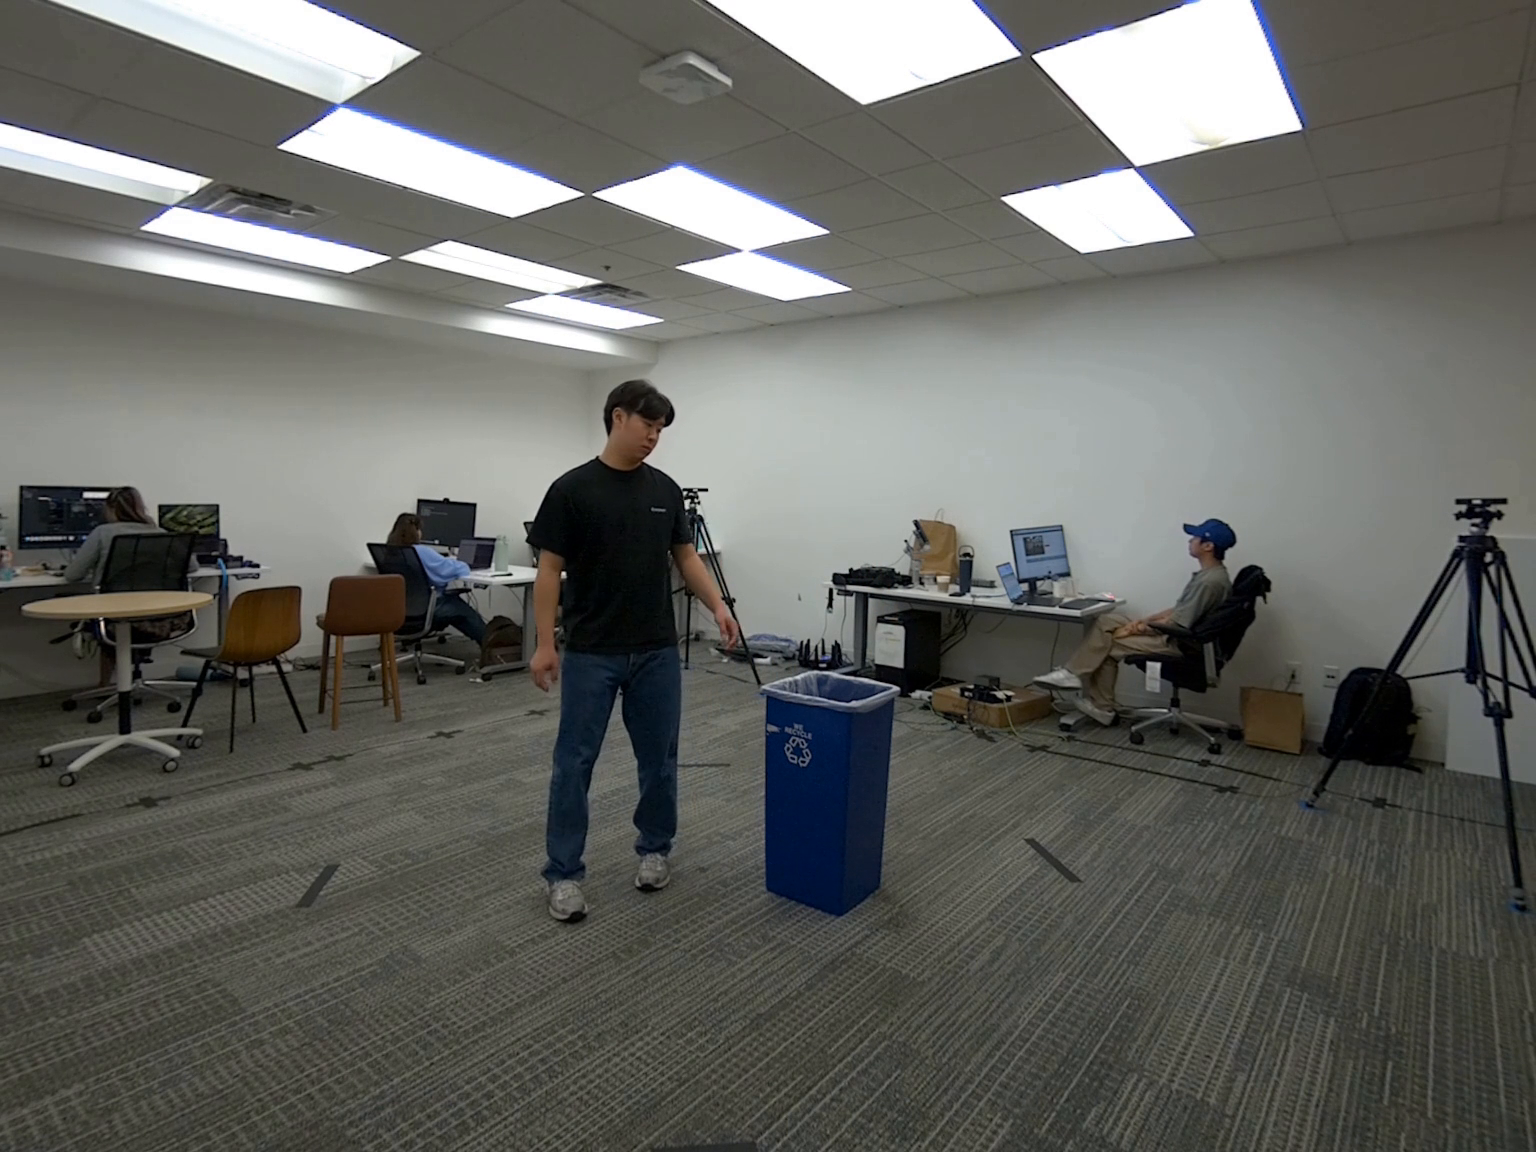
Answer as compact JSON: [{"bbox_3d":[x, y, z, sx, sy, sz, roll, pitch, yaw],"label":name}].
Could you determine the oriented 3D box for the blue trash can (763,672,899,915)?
[{"bbox_3d":[0.208,0.738,2.963,0.386,0.711,0.367,3,4,35],"label":"blue trash can"}]
